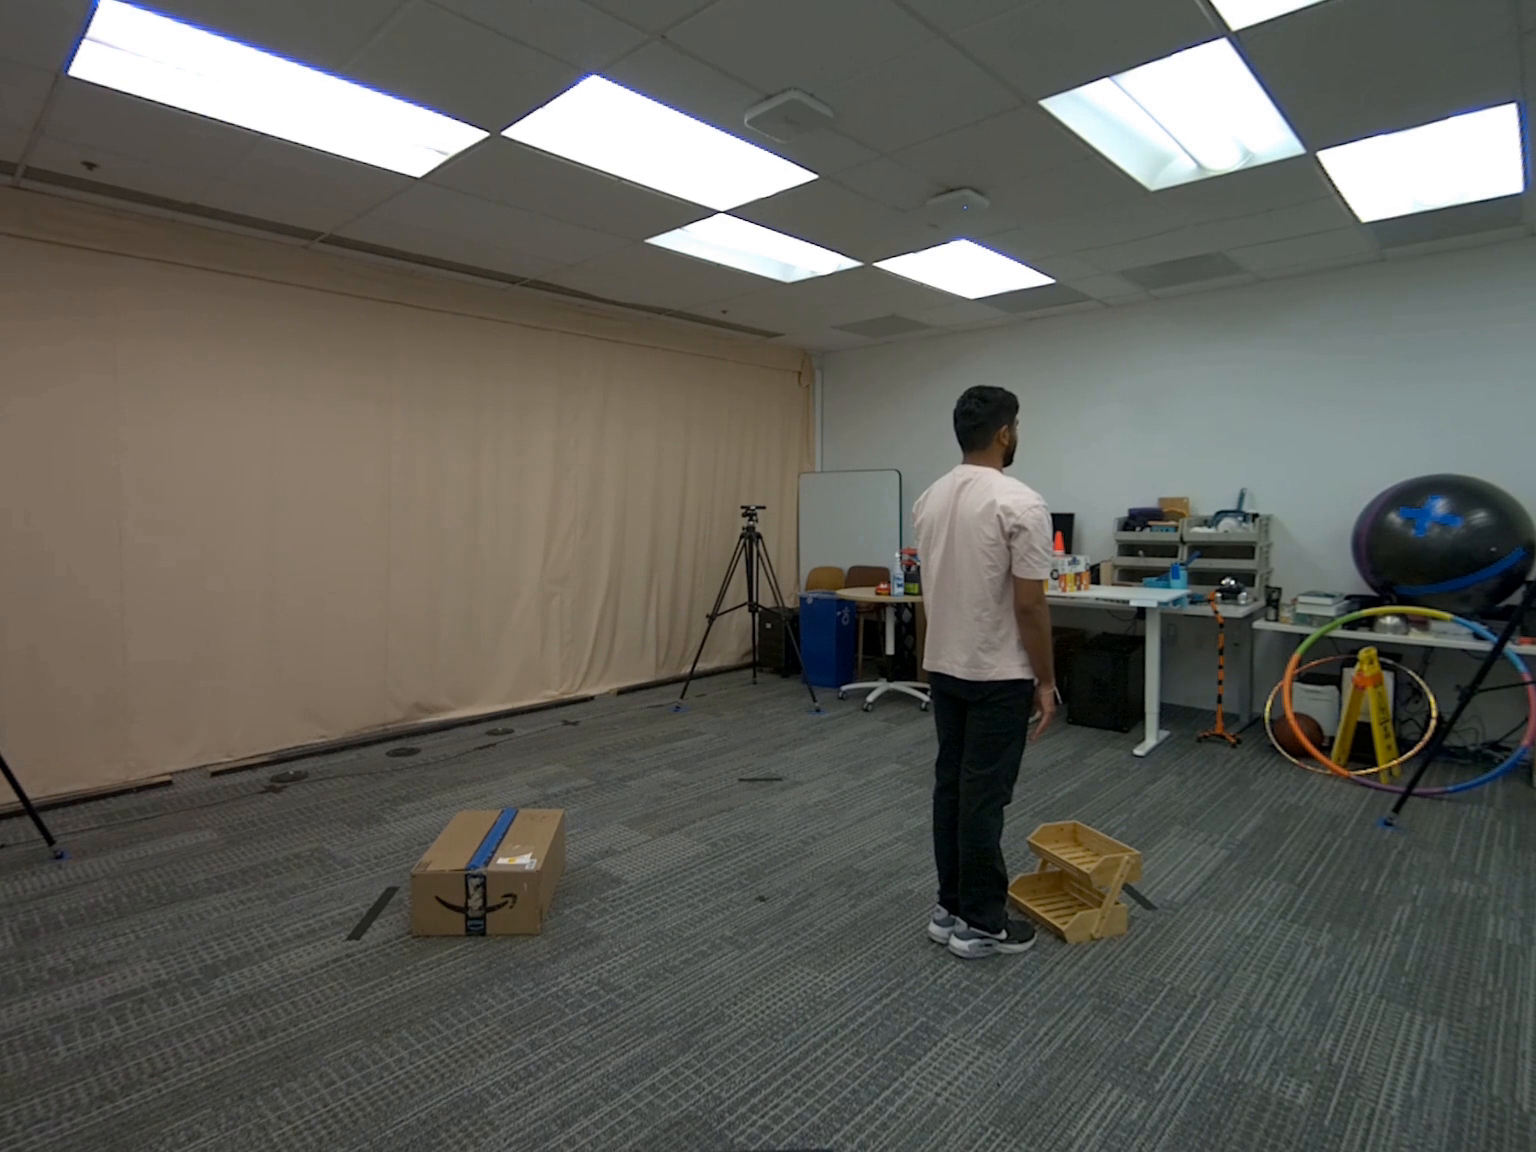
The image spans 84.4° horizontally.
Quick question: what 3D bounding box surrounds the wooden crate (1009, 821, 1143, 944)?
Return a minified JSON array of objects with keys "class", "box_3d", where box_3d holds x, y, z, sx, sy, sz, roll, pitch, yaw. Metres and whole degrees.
[{"class":"wooden crate","box_3d":[1.016,1.012,2.843,0.296,0.273,0.331,-1,4,-20]}]
